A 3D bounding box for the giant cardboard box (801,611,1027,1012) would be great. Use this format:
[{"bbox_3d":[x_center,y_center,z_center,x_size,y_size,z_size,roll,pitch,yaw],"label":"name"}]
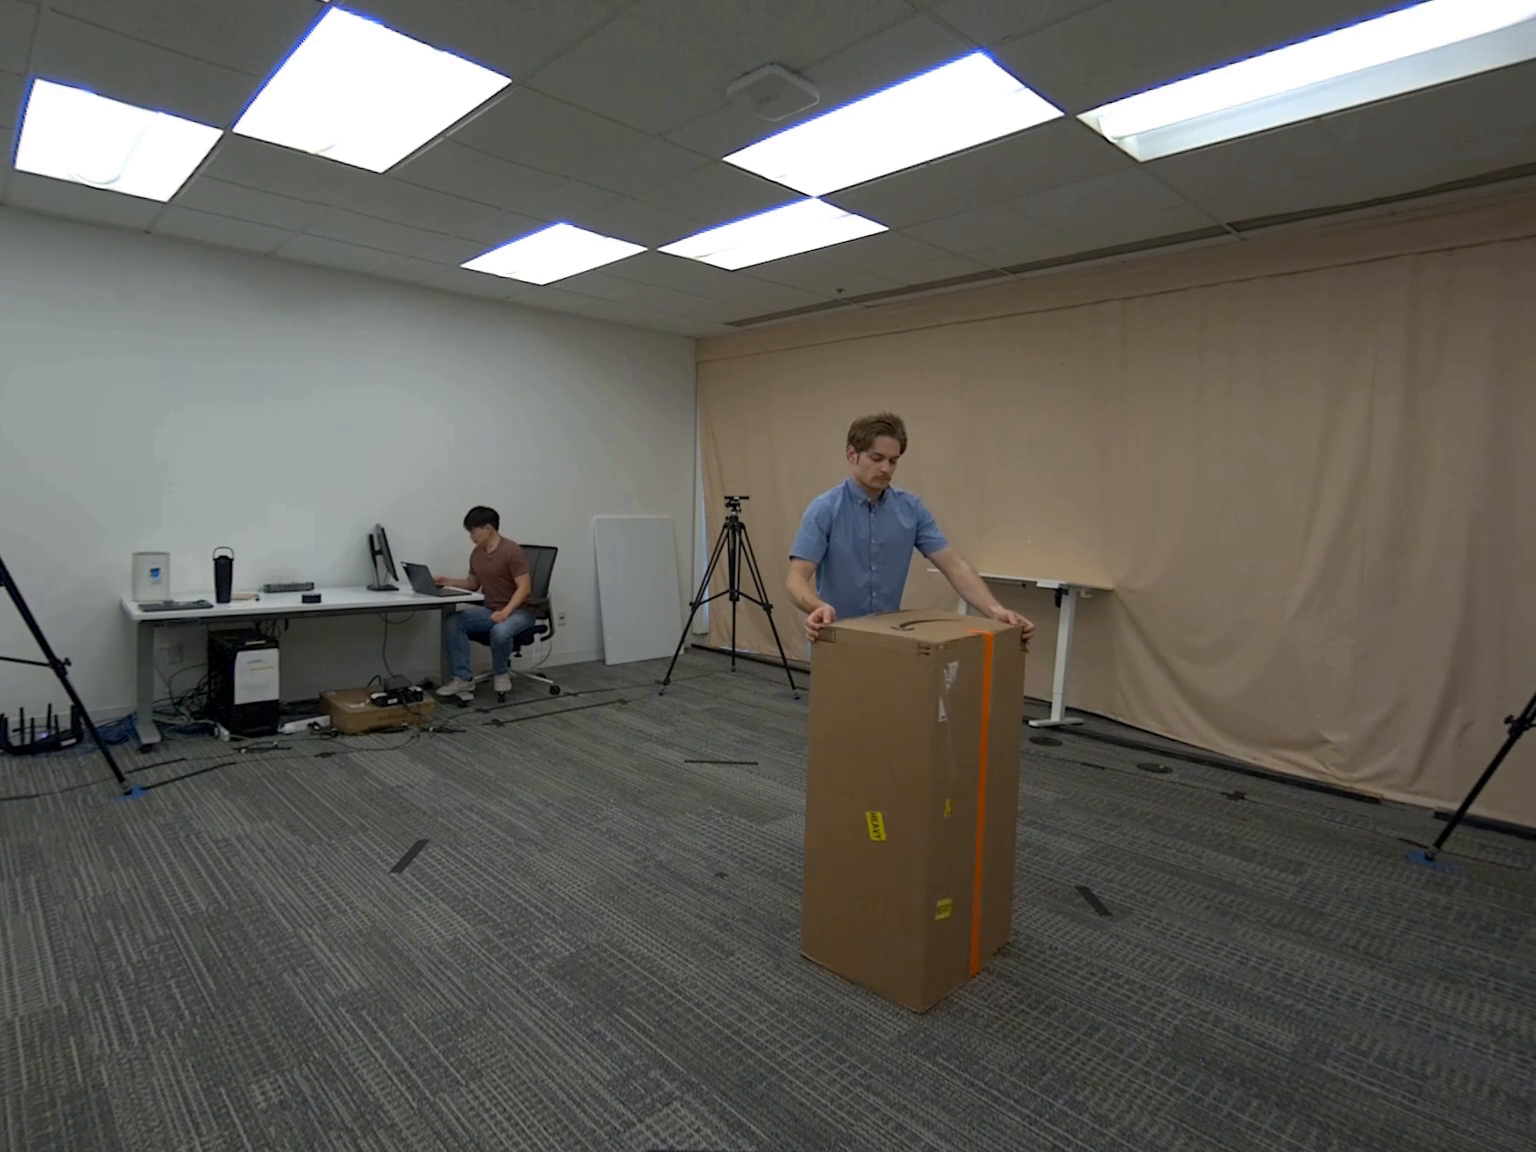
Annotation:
[{"bbox_3d":[0.454,0.658,2.601,0.437,1.023,0.564,5,4,42],"label":"giant cardboard box"}]
